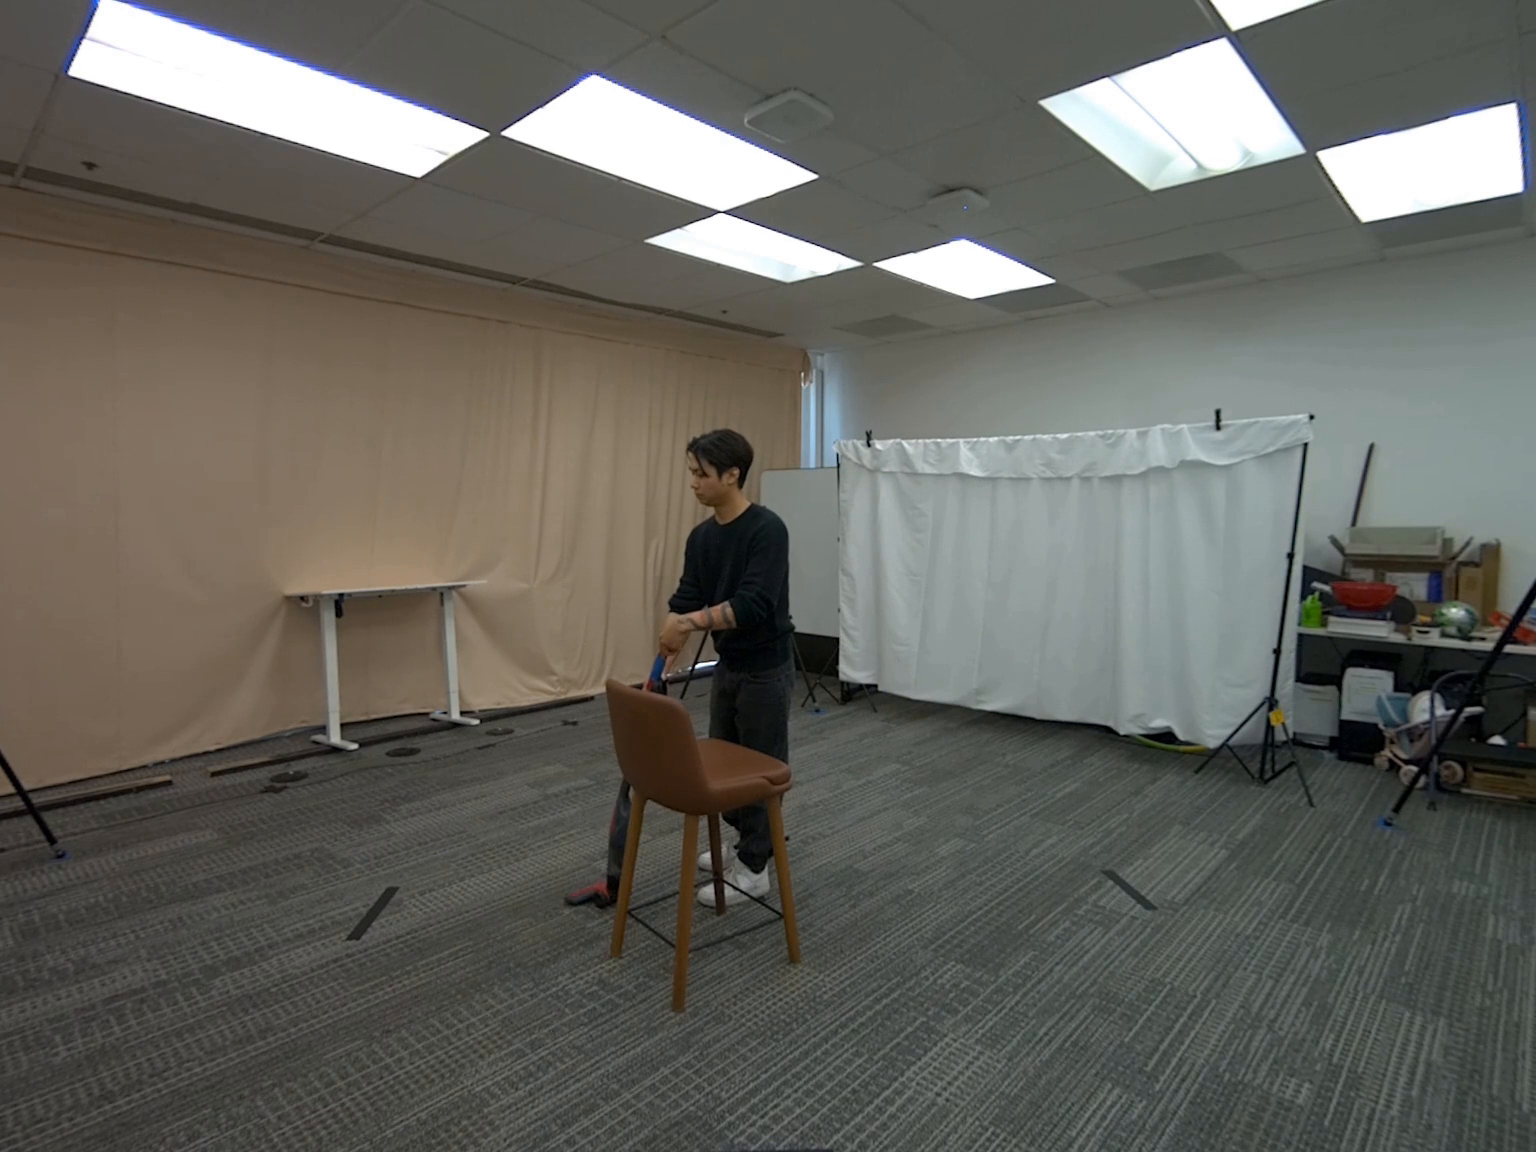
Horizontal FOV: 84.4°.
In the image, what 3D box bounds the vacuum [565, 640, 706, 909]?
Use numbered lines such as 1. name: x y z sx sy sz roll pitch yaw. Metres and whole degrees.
1. vacuum: -0.442 0.682 2.848 0.149 1.044 0.245 29 21 34
